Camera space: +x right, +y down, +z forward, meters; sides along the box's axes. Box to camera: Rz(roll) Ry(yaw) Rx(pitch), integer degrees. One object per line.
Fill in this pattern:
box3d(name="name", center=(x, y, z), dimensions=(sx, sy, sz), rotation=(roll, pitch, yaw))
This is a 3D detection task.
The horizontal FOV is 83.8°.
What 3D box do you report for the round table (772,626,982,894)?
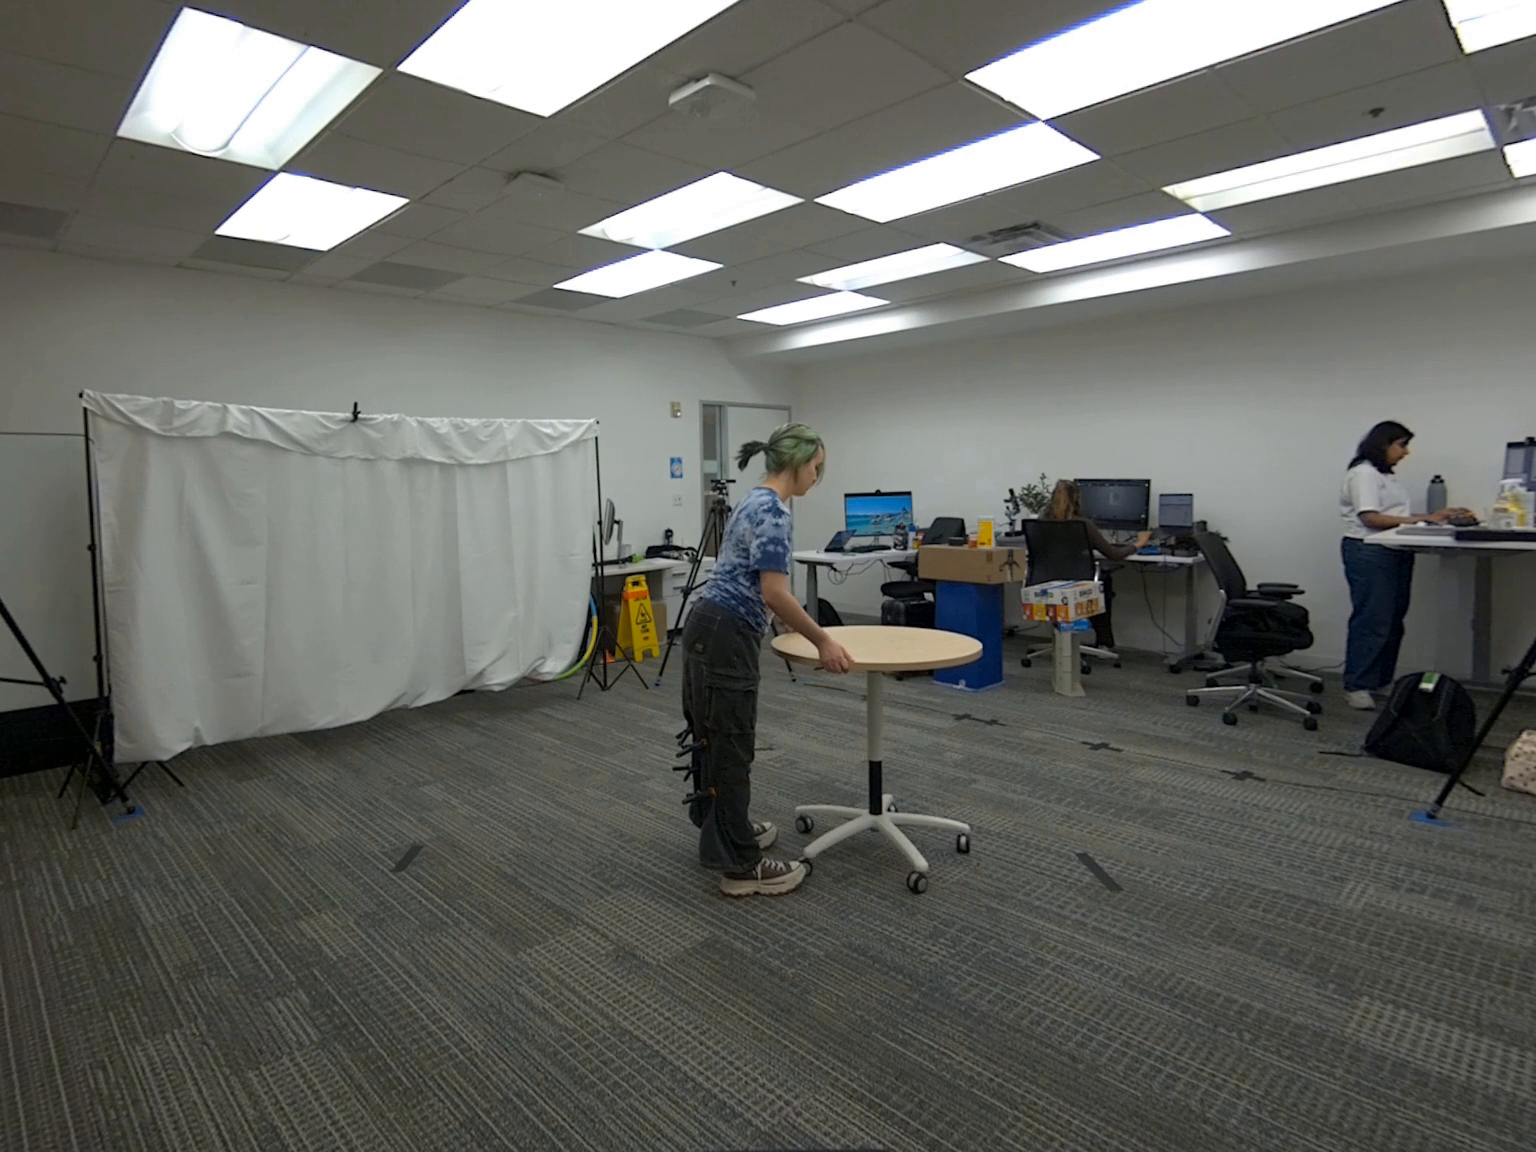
box3d(name="round table", center=(0.396, 0.640, 3.185), dimensions=(0.763, 0.791, 0.767), rotation=(-1, 4, -2))
